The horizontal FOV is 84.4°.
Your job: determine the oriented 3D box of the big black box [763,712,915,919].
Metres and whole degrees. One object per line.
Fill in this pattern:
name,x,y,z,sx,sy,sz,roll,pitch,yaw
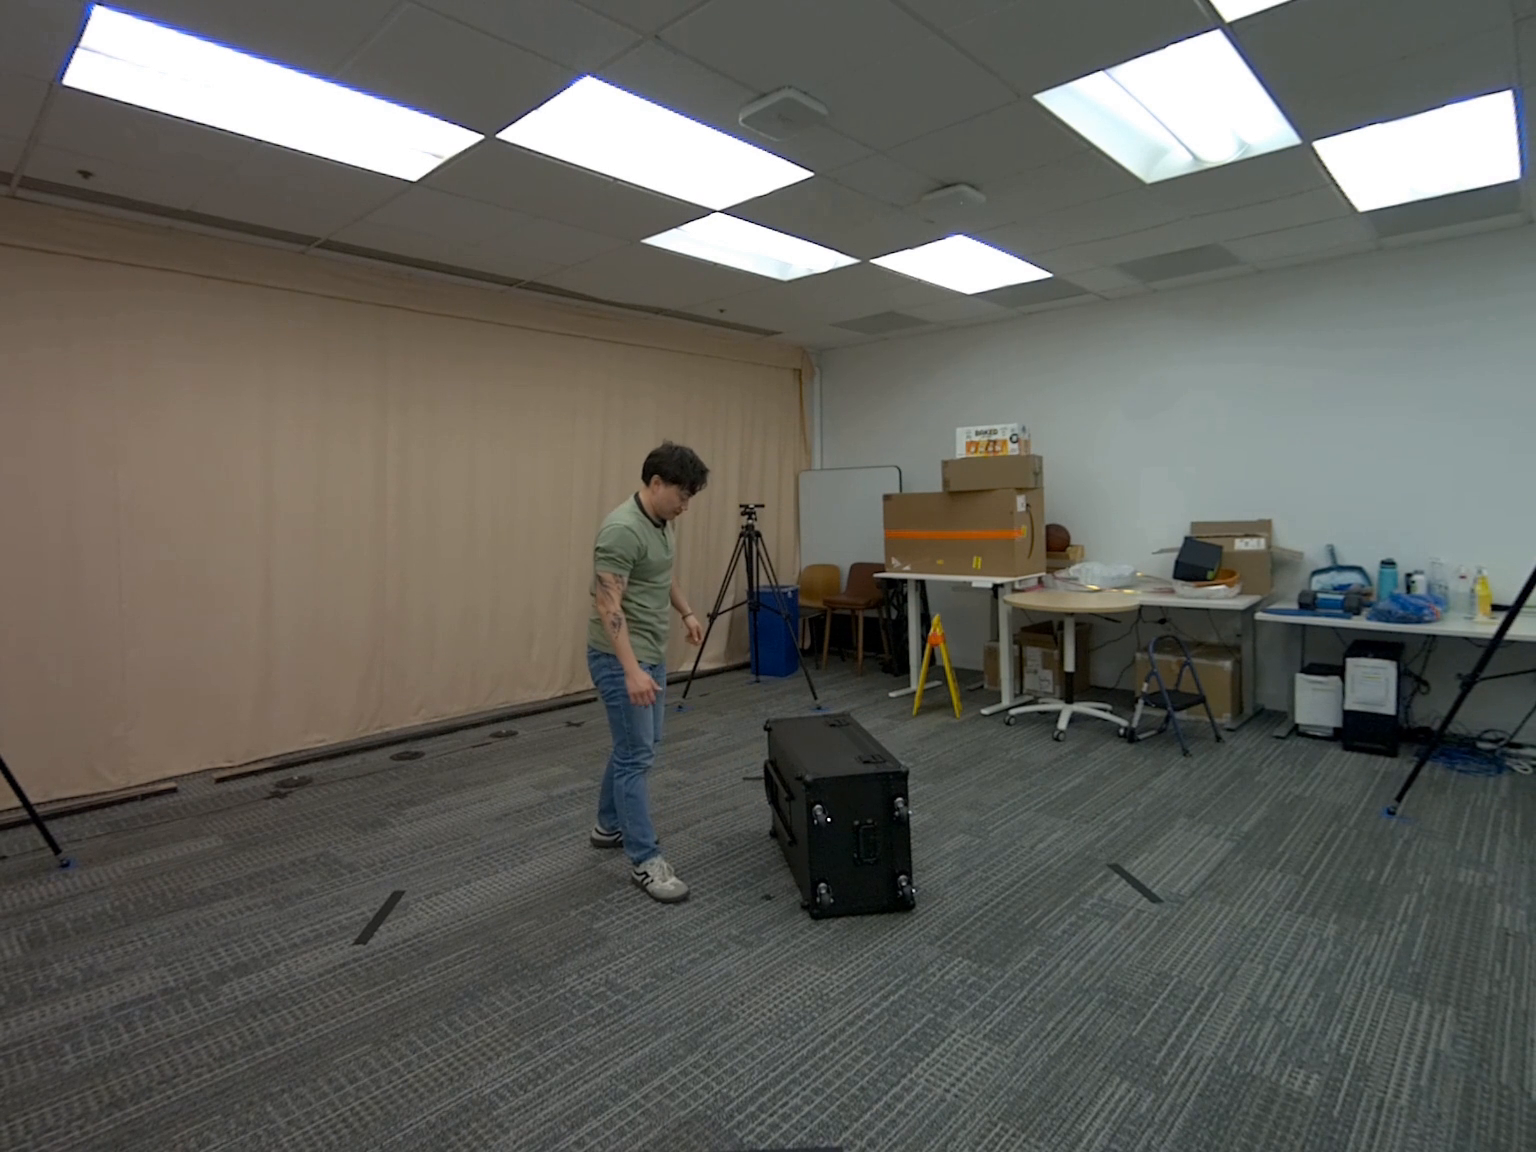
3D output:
big black box,0.237,0.862,3.165,0.393,0.520,0.871,-4,5,-9
